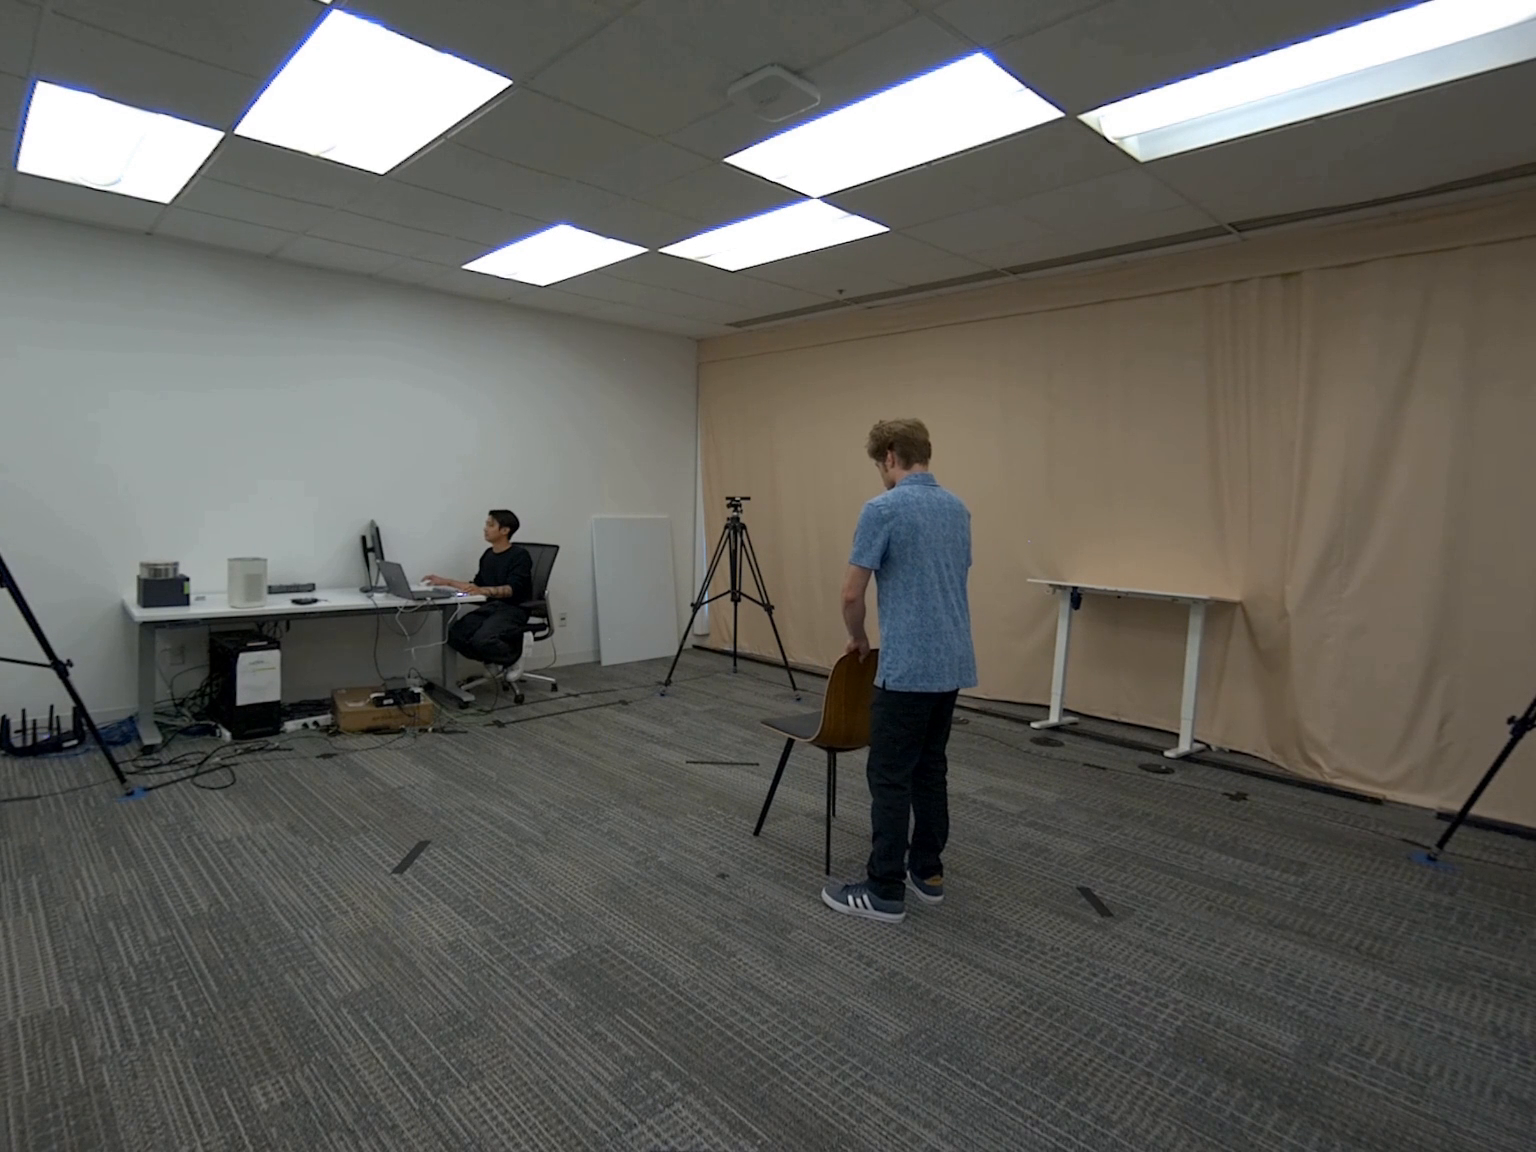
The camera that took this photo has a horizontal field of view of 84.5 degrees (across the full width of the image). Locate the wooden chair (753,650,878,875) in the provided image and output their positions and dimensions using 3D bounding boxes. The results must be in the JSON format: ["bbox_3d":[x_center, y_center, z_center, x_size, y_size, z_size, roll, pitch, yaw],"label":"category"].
[{"bbox_3d":[0.255,0.659,3.409,0.467,0.873,0.537,-1,8,-37],"label":"wooden chair"}]
